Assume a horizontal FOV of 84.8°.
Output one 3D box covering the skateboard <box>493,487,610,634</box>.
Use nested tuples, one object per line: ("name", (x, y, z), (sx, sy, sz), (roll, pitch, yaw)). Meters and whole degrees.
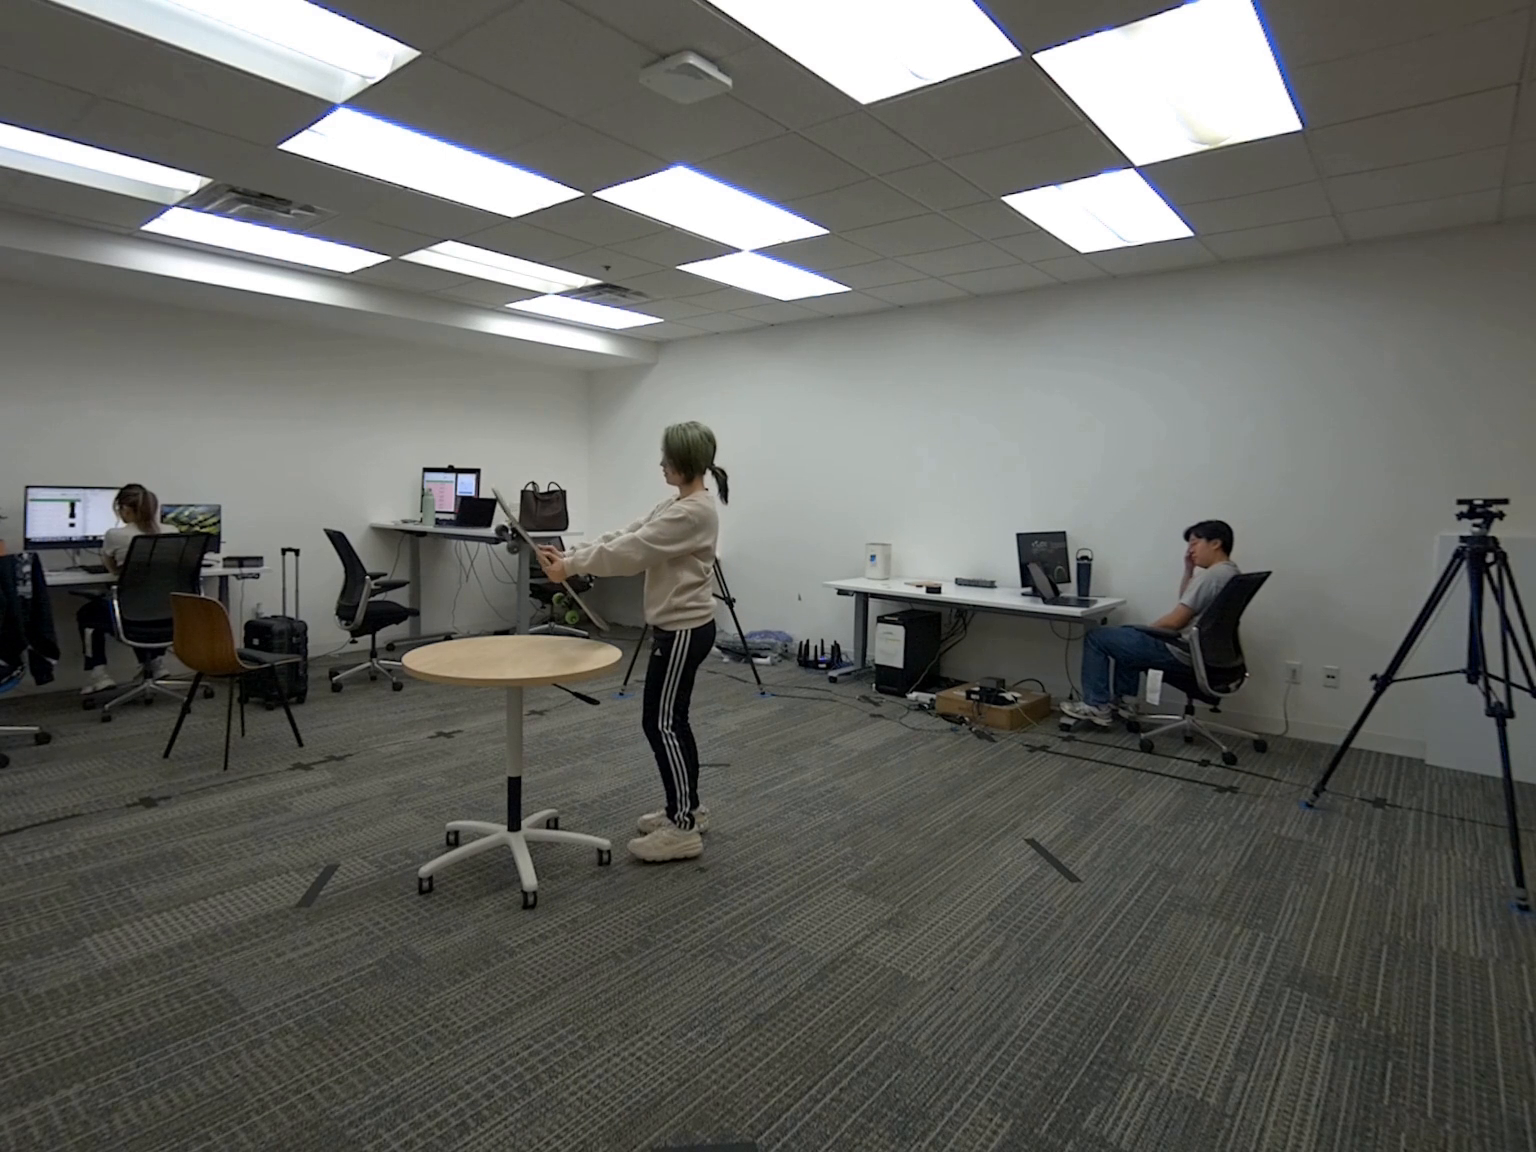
("skateboard", (-0.860, -0.023, 3.208), (0.110, 0.755, 0.201), (-39, 37, -11))
